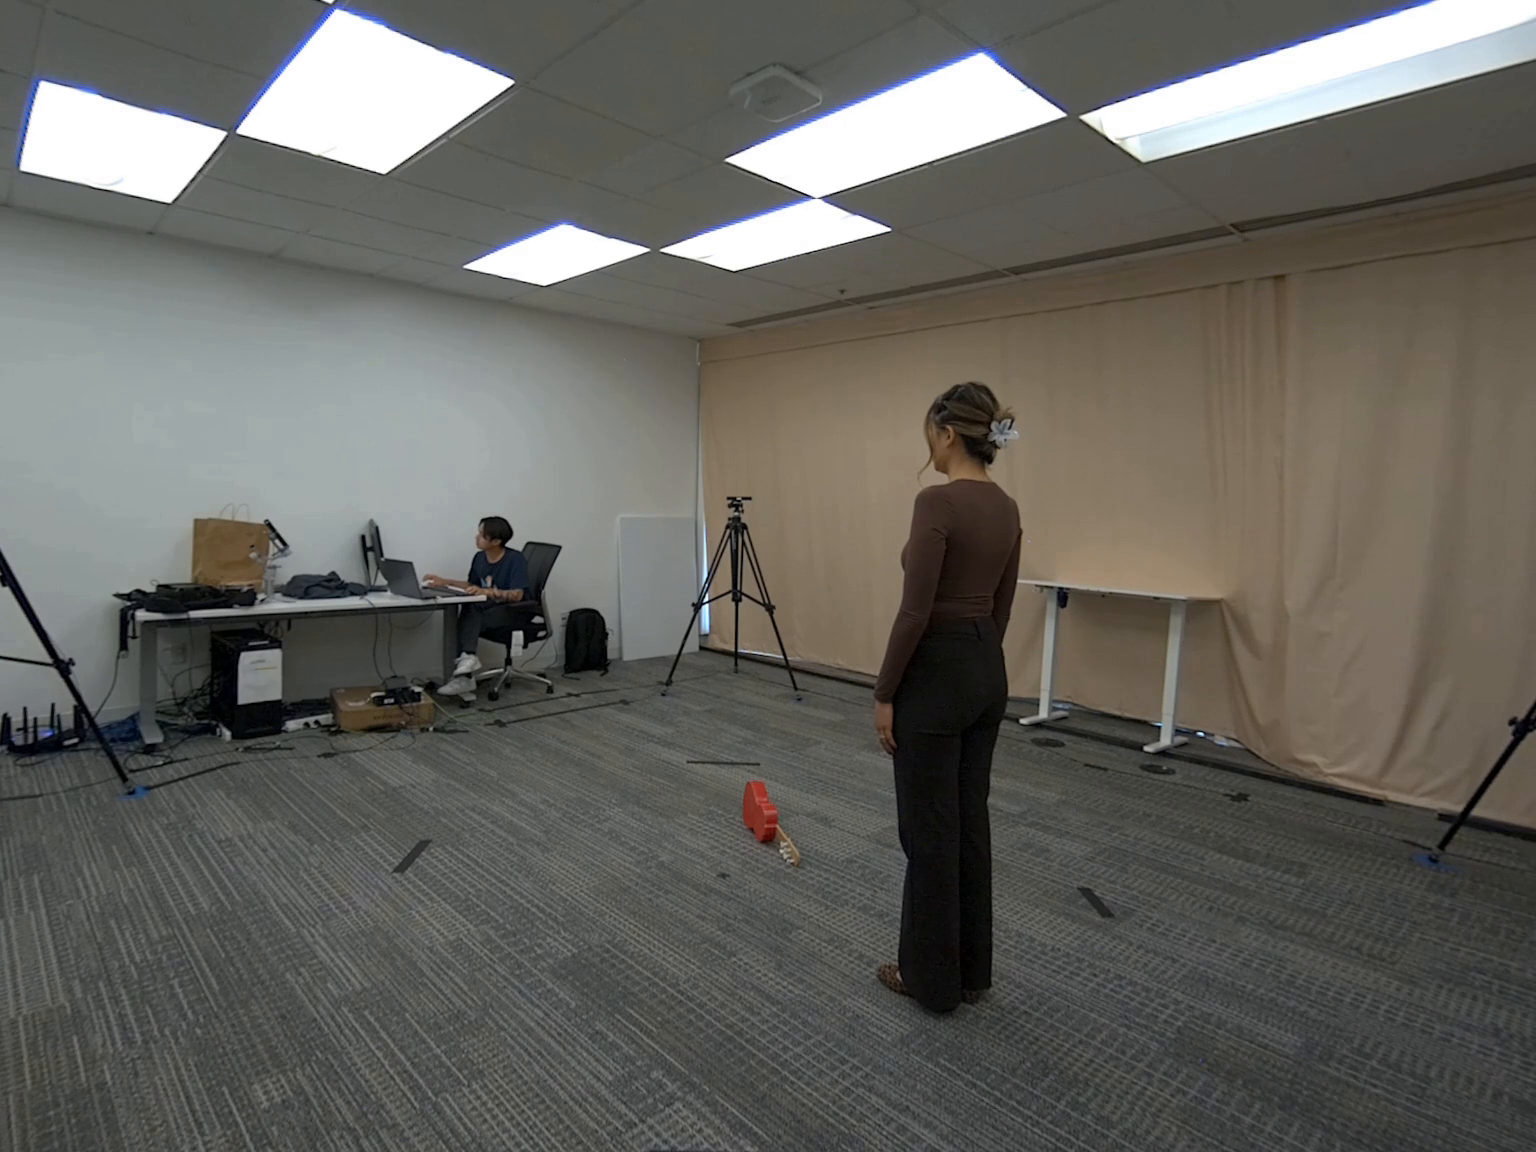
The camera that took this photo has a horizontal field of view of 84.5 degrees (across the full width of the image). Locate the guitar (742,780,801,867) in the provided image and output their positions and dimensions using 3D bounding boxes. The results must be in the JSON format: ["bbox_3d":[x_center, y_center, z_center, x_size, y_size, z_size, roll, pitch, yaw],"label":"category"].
[{"bbox_3d":[0.005,0.988,3.405,0.069,0.192,0.507,5,4,-20],"label":"guitar"}]
